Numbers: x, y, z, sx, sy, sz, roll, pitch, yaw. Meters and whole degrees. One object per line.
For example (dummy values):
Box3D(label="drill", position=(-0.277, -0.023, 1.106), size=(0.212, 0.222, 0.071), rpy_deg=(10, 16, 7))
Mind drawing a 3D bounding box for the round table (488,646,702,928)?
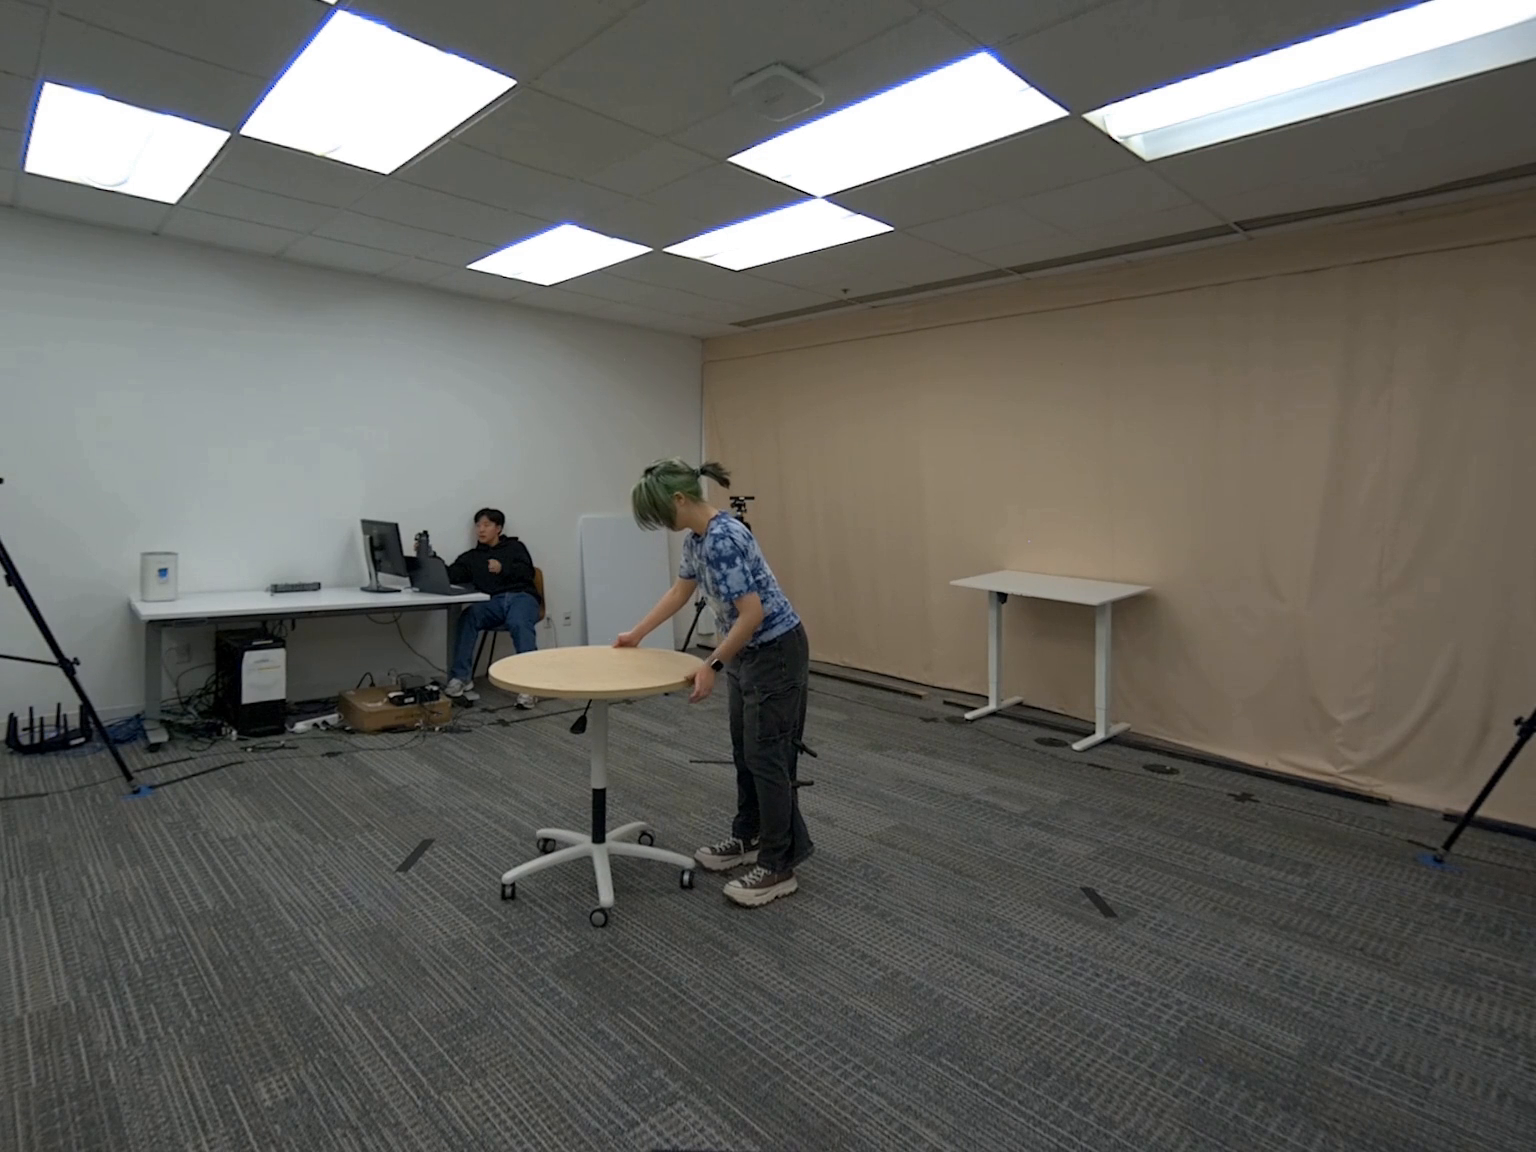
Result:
Box3D(label="round table", position=(-0.615, 0.712, 3.016), size=(0.763, 0.792, 0.766), rpy_deg=(1, 4, -1))
